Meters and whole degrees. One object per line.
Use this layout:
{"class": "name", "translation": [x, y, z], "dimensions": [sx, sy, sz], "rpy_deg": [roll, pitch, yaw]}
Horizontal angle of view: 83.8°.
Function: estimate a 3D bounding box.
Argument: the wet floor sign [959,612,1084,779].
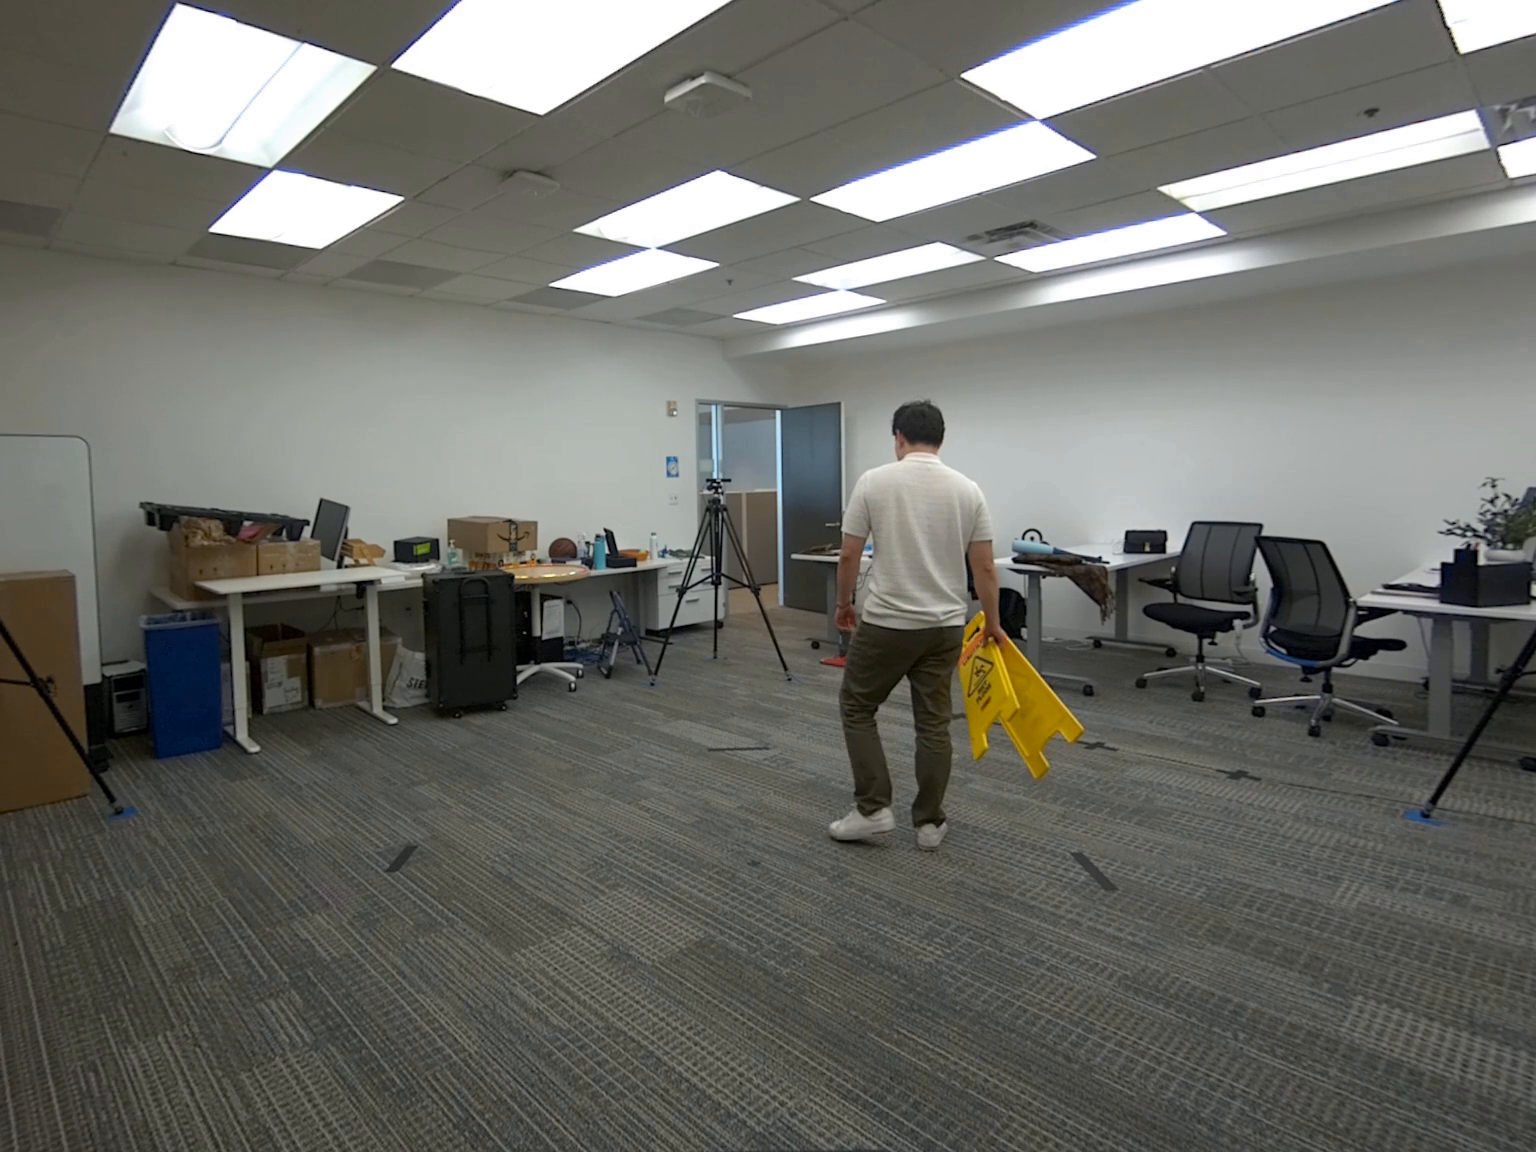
{"class": "wet floor sign", "translation": [0.875, 0.405, 3.277], "dimensions": [0.283, 0.280, 0.666], "rpy_deg": [17, 31, -21]}
